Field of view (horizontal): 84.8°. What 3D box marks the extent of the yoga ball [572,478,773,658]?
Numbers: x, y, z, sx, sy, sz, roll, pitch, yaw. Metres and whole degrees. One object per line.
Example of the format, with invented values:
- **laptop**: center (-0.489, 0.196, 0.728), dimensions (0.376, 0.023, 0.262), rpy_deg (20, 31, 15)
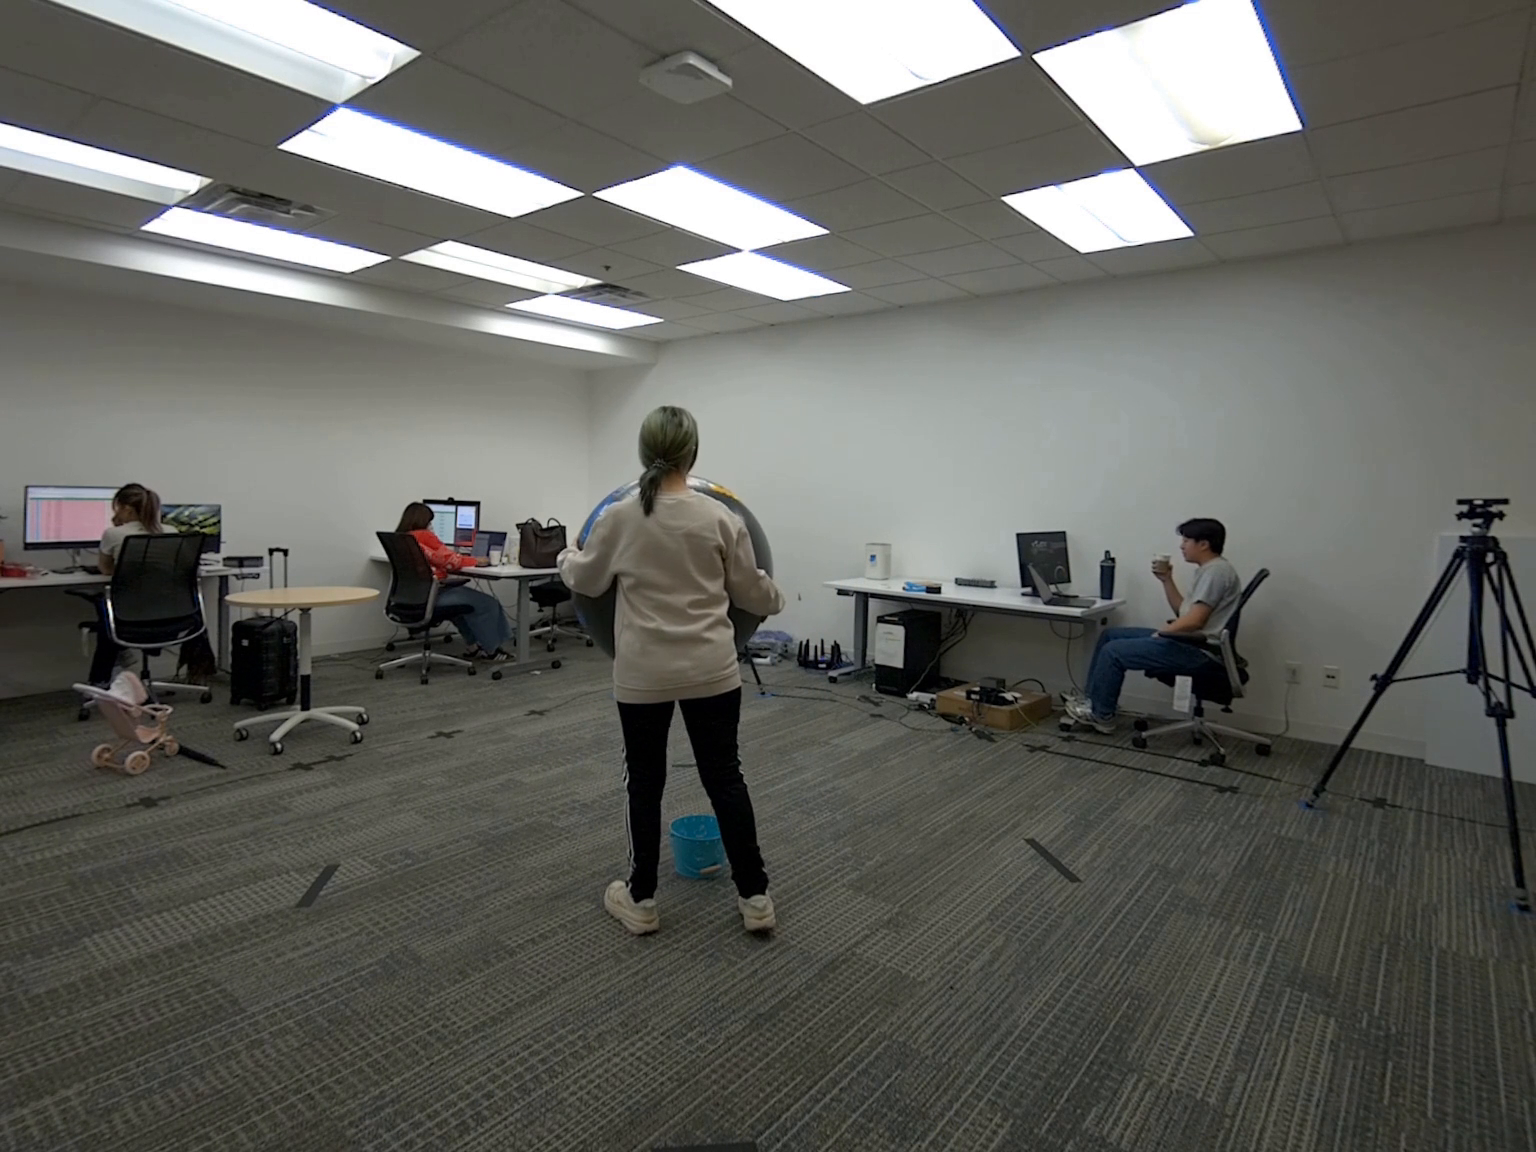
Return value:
- **yoga ball**: center (-0.364, 0.000, 3.179), dimensions (0.757, 0.756, 0.762), rpy_deg (1, 4, -2)
